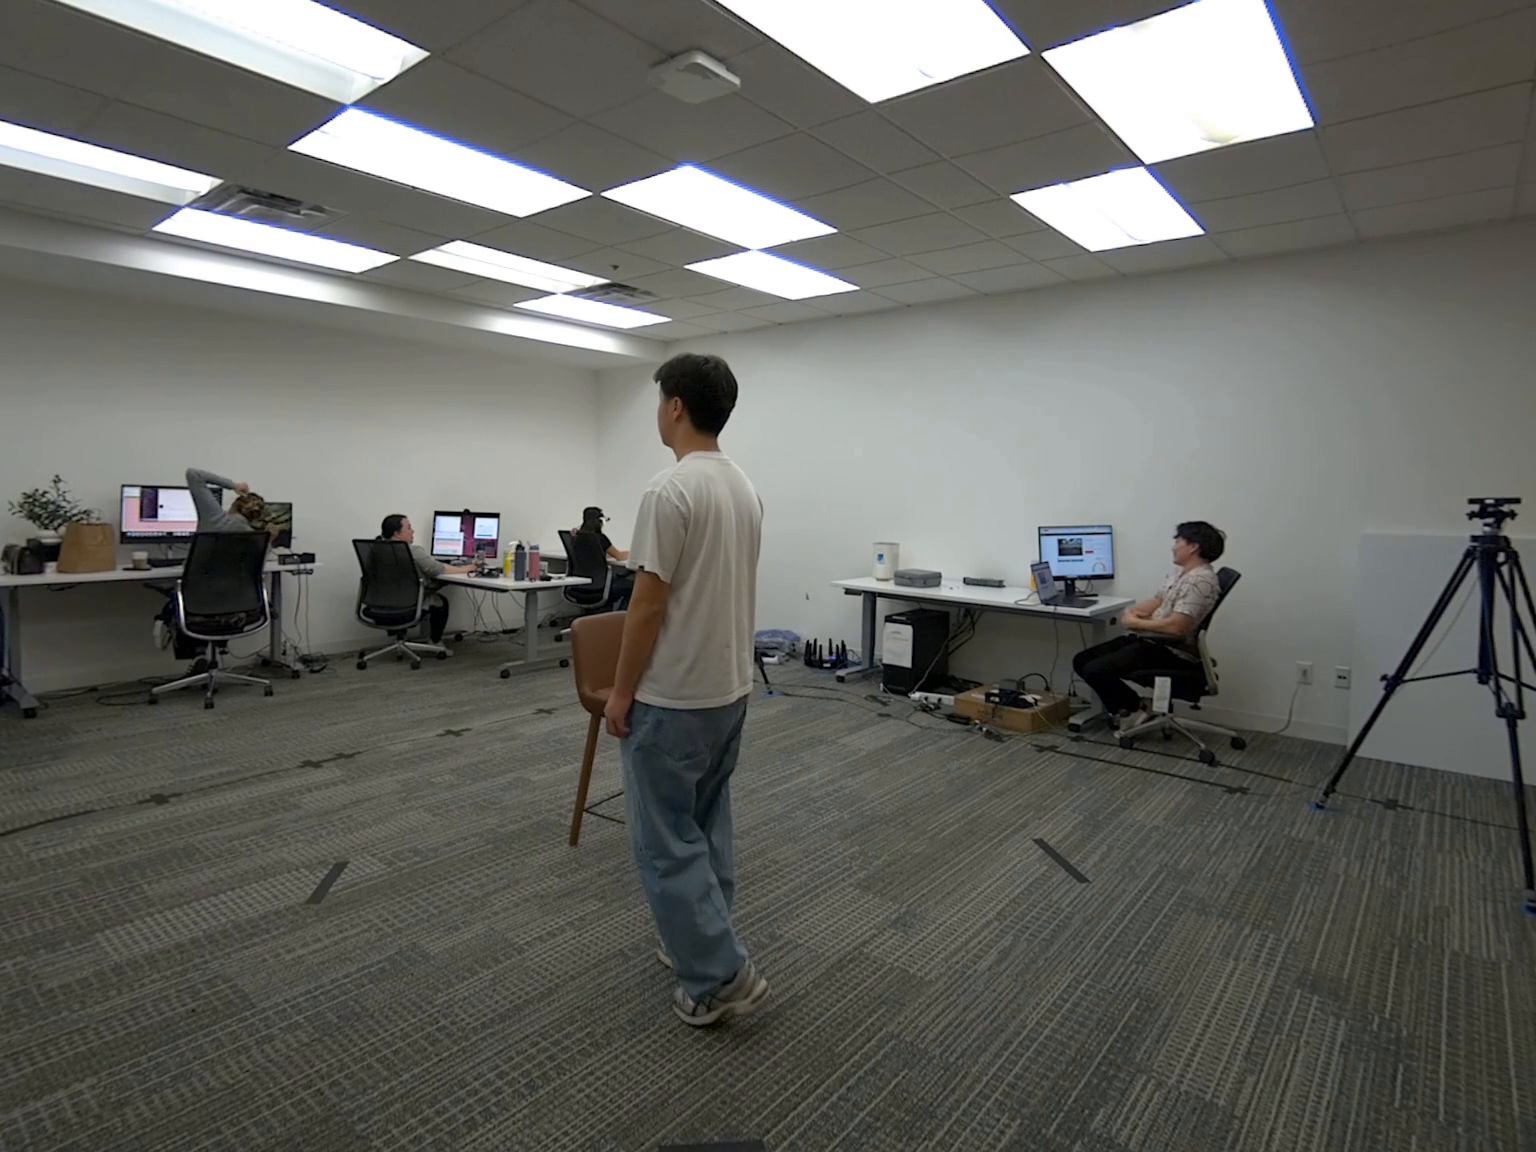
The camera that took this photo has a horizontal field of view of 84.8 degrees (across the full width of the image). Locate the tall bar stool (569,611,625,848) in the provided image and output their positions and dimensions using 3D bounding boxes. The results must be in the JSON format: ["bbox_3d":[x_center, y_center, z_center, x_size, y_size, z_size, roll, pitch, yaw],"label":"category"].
[{"bbox_3d":[-0.490,0.604,3.303,0.481,0.888,0.444,1,2,32],"label":"tall bar stool"}]
